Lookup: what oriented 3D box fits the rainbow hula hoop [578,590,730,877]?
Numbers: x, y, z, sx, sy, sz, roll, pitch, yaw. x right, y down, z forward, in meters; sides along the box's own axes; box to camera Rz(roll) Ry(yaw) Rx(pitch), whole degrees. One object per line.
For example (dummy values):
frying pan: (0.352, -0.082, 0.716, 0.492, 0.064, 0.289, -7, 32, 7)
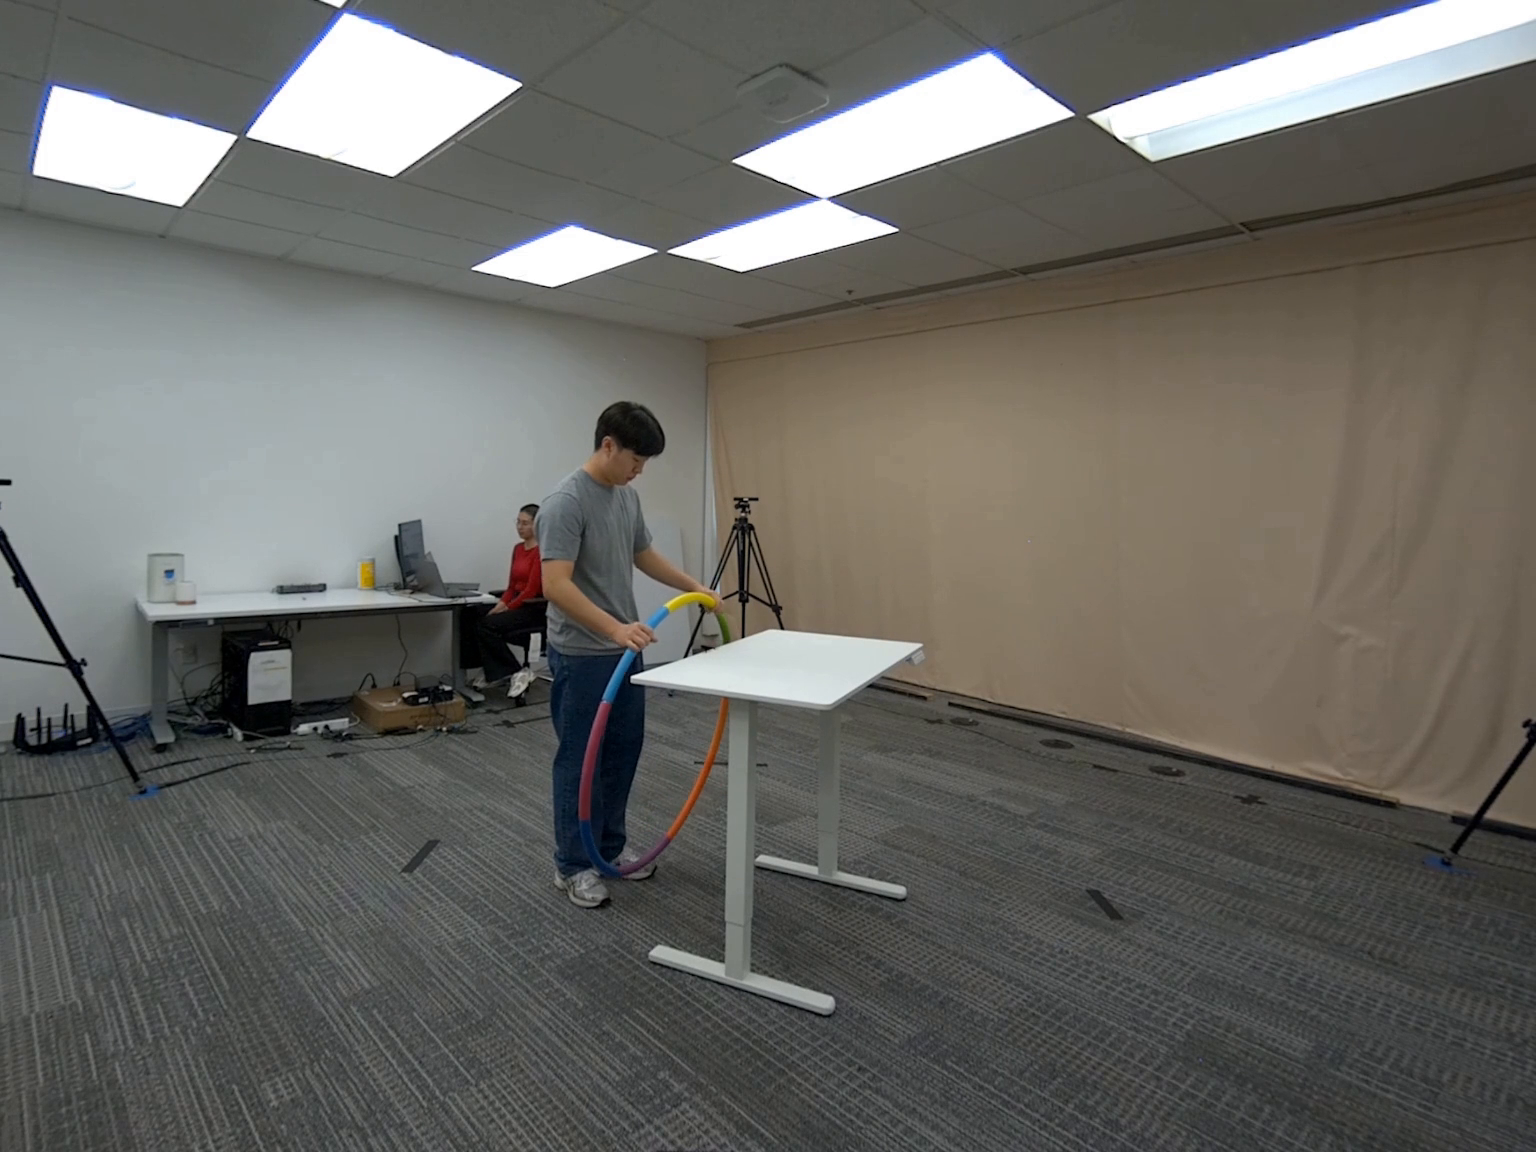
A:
rainbow hula hoop: (-0.355, 0.540, 2.914, 0.036, 0.974, 0.963, 12, 8, 21)
